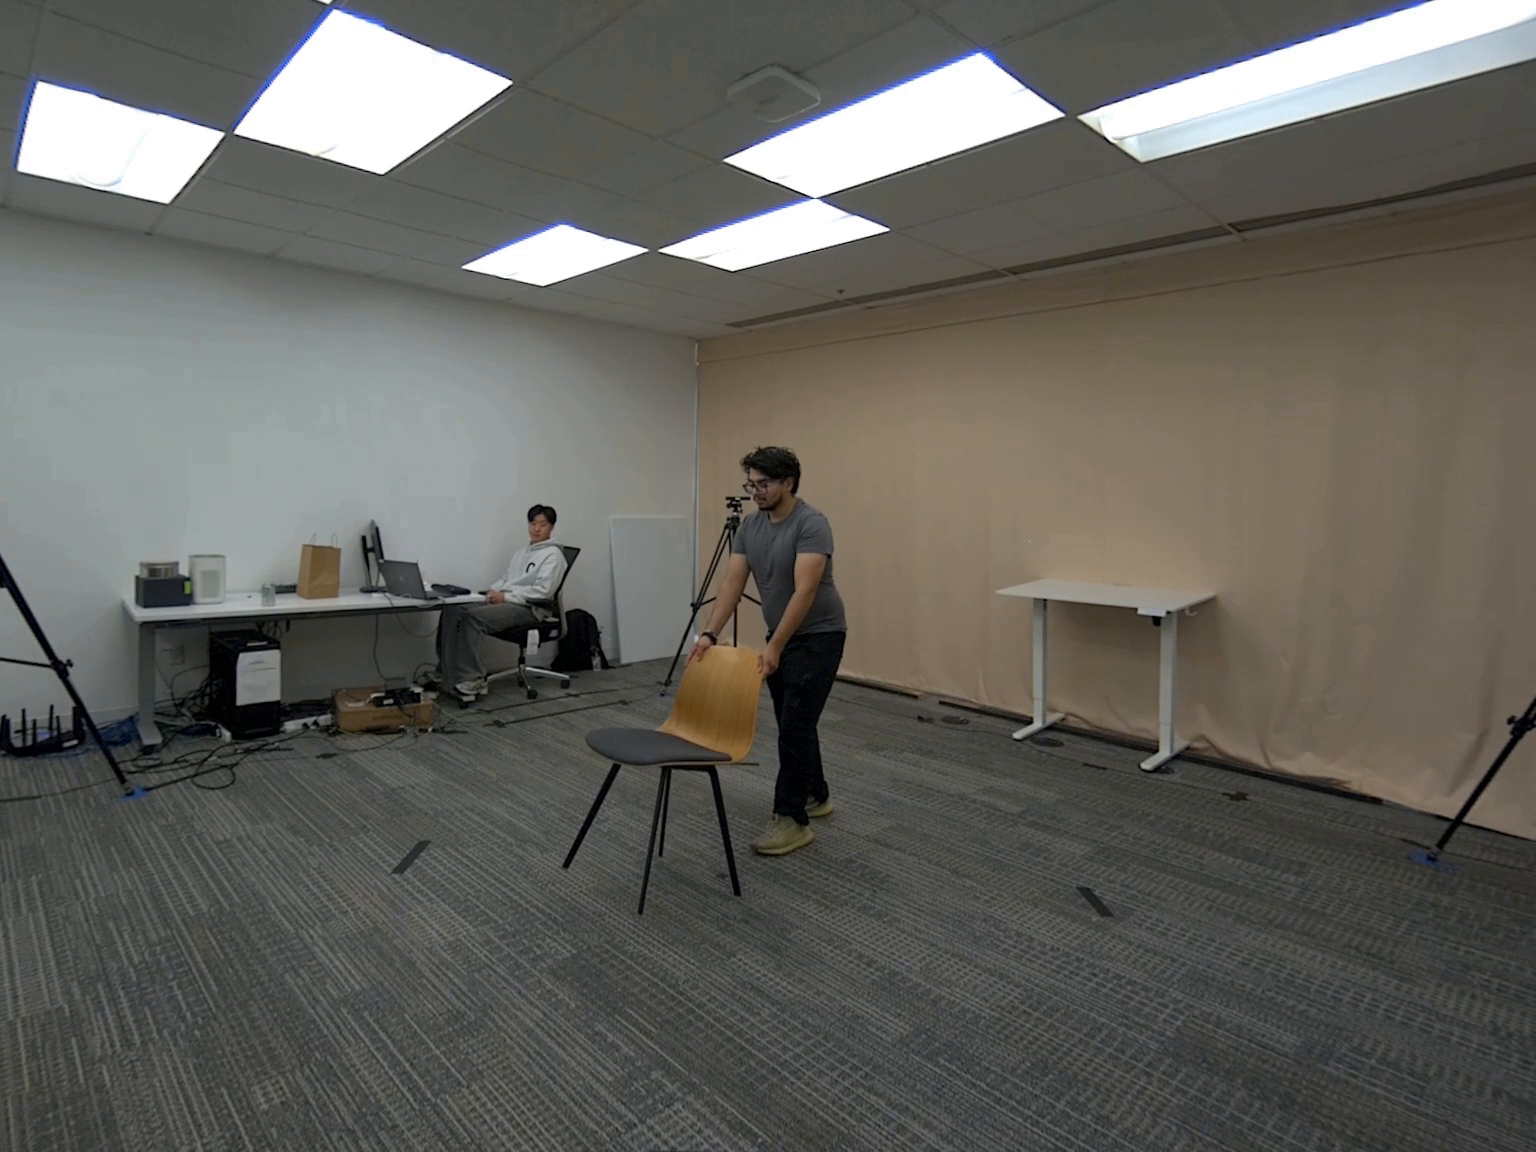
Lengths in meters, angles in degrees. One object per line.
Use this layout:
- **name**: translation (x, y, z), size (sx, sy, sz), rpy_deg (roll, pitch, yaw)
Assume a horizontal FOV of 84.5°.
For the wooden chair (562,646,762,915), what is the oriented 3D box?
- **wooden chair**: translation (-0.354, 0.650, 2.970), size (0.490, 0.881, 0.508), rpy_deg (5, -10, 45)
